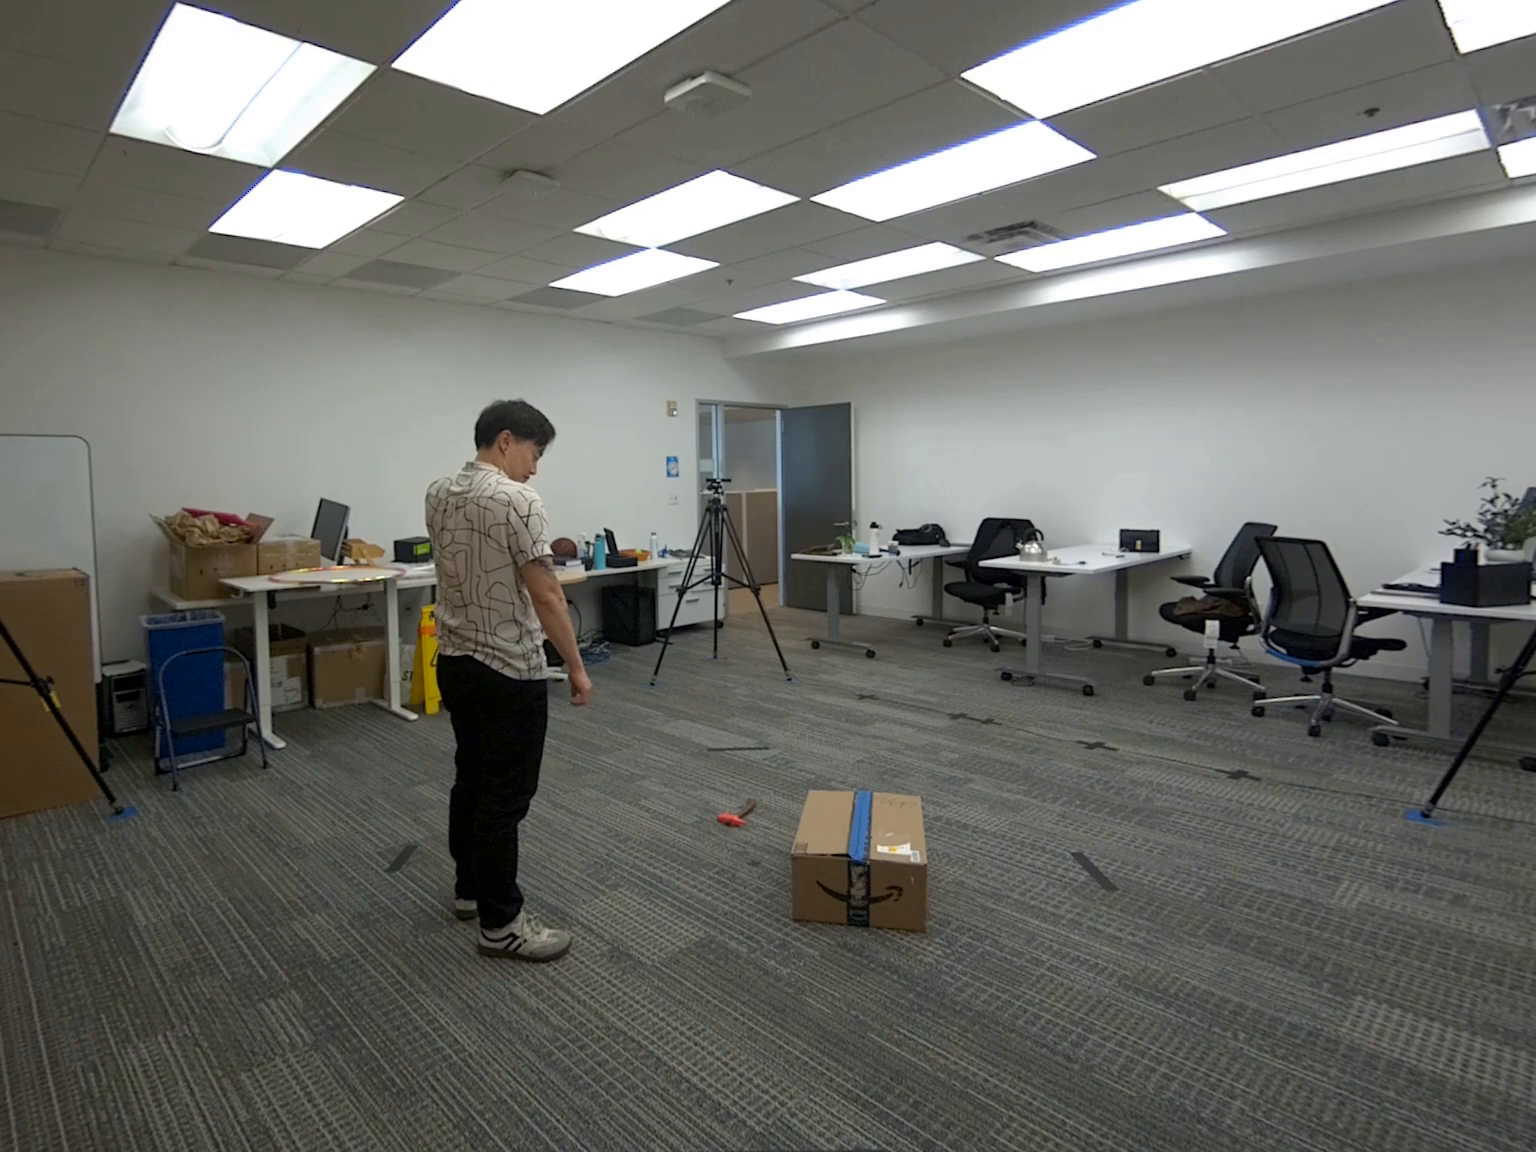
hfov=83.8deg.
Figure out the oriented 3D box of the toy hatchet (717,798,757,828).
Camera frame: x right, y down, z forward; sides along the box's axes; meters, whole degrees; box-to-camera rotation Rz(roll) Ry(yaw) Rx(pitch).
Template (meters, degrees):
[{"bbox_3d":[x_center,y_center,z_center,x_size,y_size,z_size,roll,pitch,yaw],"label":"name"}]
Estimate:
[{"bbox_3d":[-0.132,0.982,3.568,0.132,0.029,0.268,-3,5,10],"label":"toy hatchet"}]
